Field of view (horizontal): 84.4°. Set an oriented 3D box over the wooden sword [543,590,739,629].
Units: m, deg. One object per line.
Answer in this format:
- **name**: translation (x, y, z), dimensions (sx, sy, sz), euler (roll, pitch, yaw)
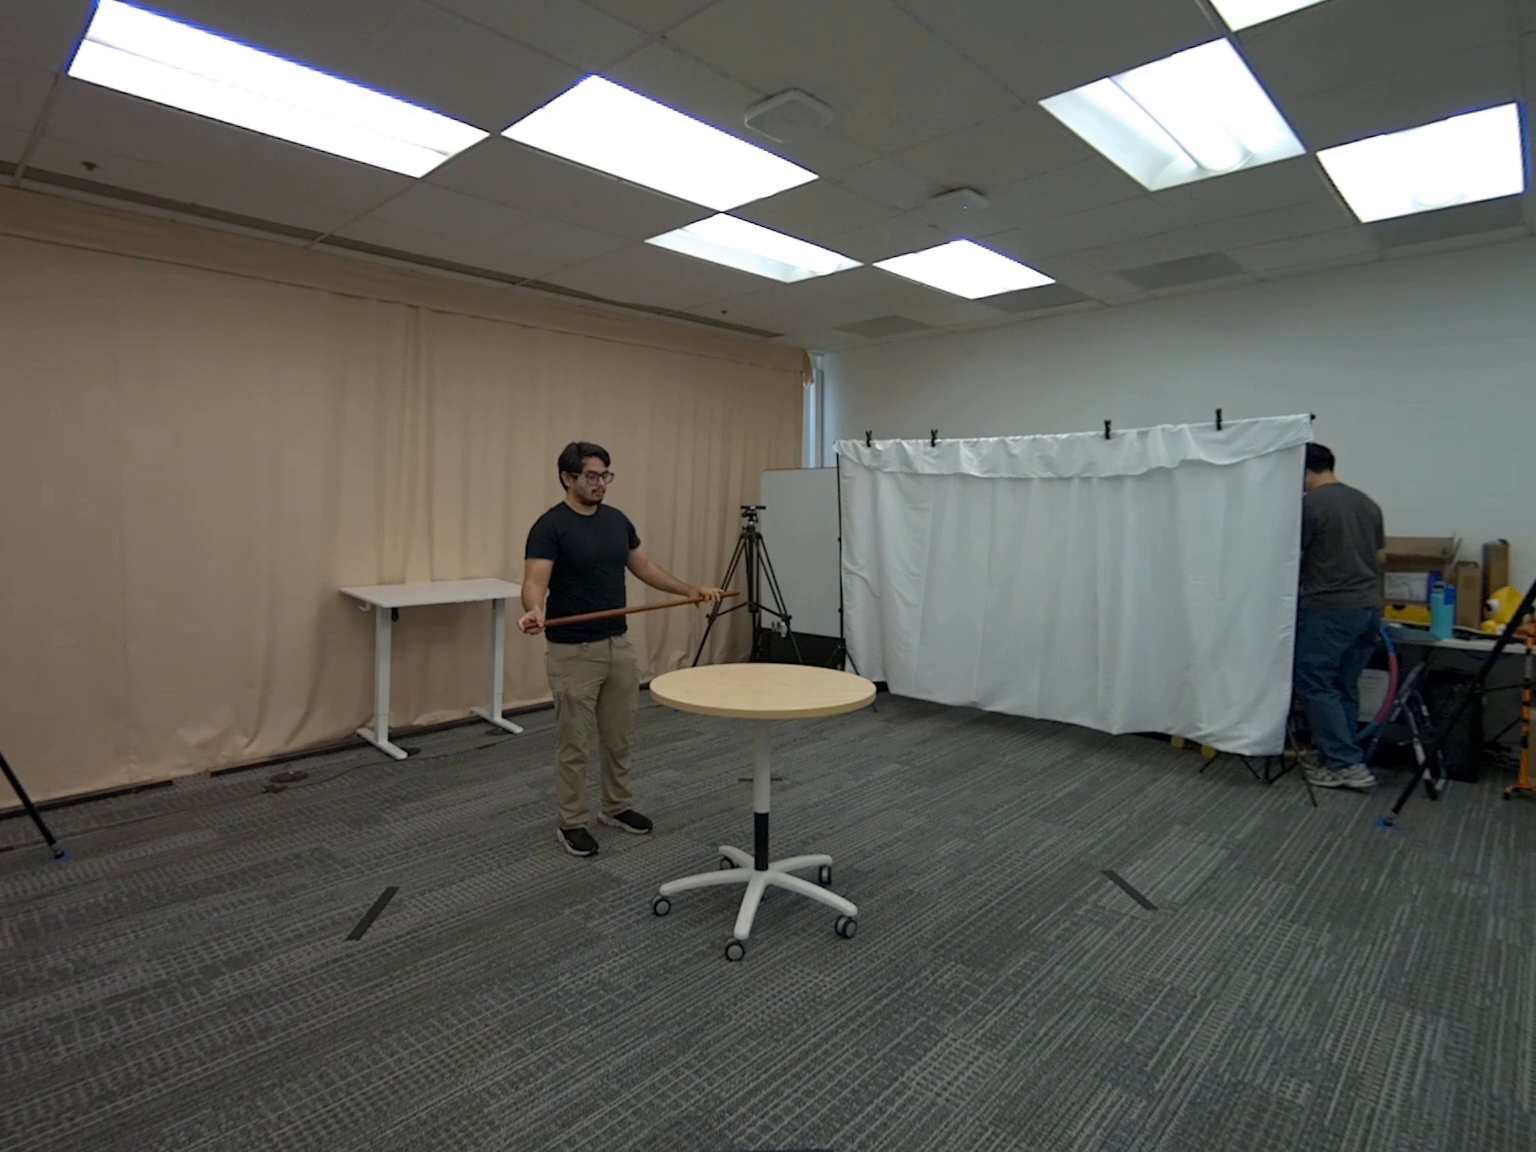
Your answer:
- **wooden sword**: translation (-0.493, 0.129, 3.190), dimensions (0.997, 0.024, 0.053), euler (-9, 37, -36)
